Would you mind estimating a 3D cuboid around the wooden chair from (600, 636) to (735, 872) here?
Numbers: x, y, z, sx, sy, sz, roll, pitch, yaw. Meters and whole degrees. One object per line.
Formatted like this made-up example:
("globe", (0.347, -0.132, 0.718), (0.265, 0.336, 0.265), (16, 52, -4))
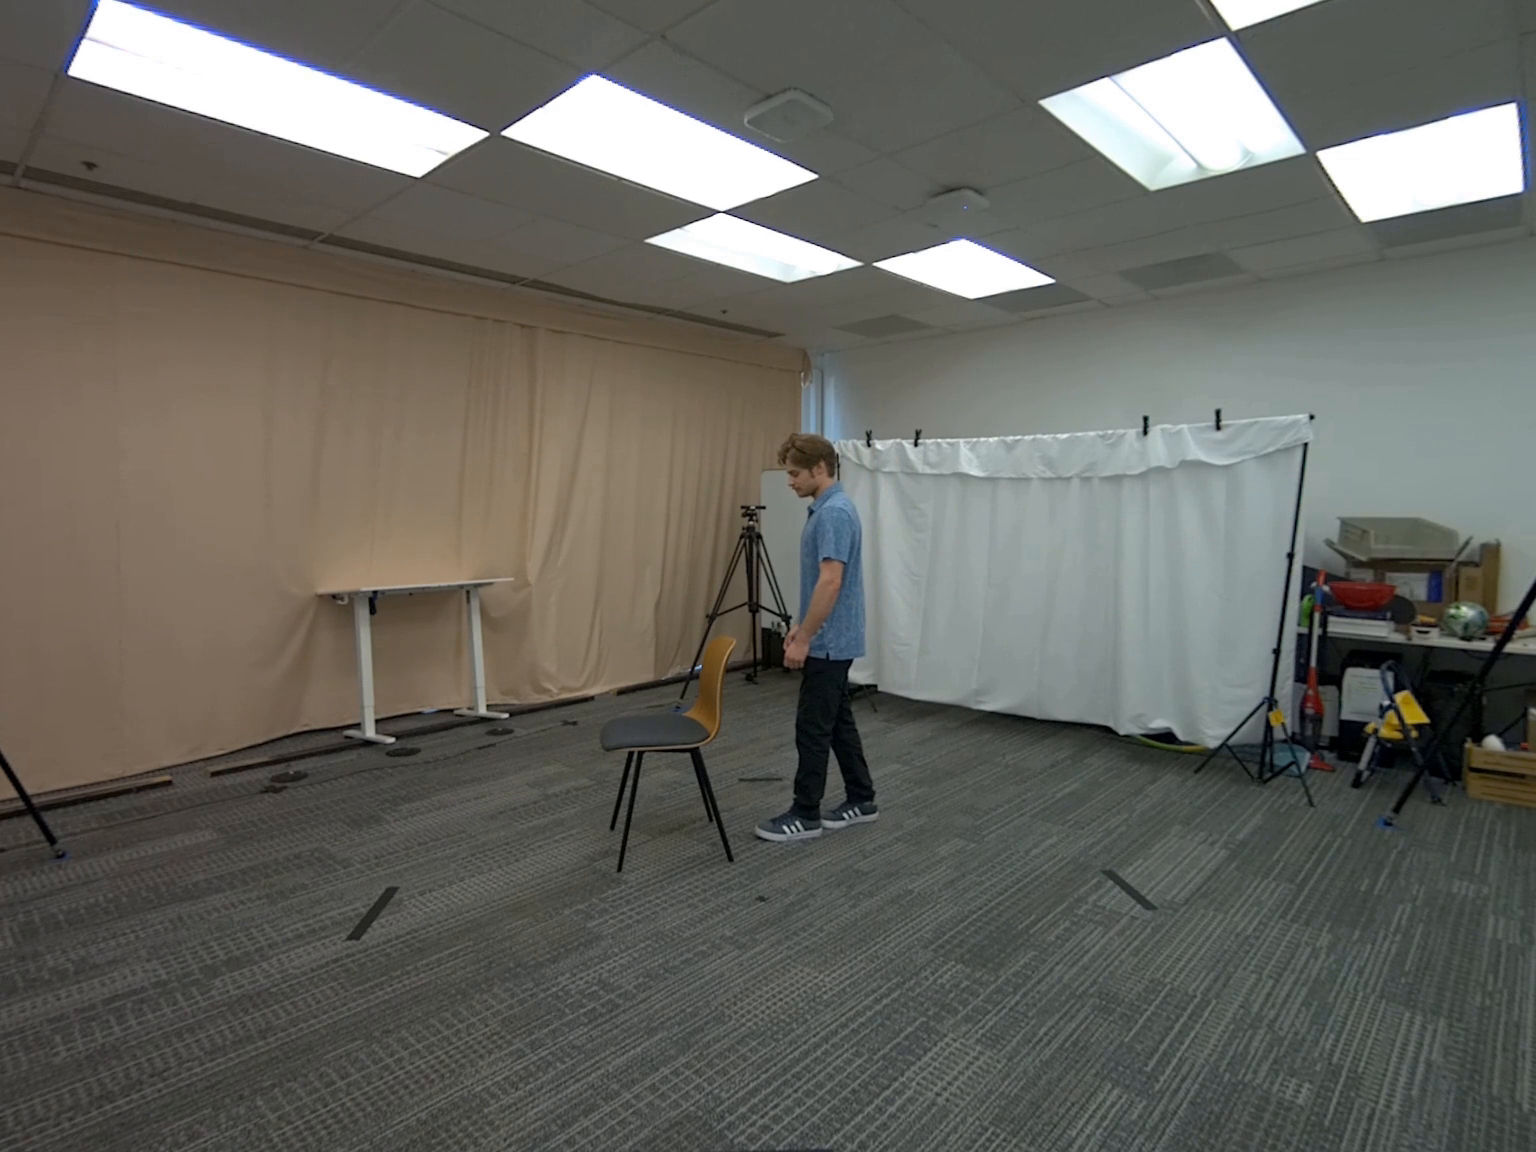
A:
("wooden chair", (-0.420, 0.679, 3.427), (0.516, 0.876, 0.486), (3, 3, -14))
